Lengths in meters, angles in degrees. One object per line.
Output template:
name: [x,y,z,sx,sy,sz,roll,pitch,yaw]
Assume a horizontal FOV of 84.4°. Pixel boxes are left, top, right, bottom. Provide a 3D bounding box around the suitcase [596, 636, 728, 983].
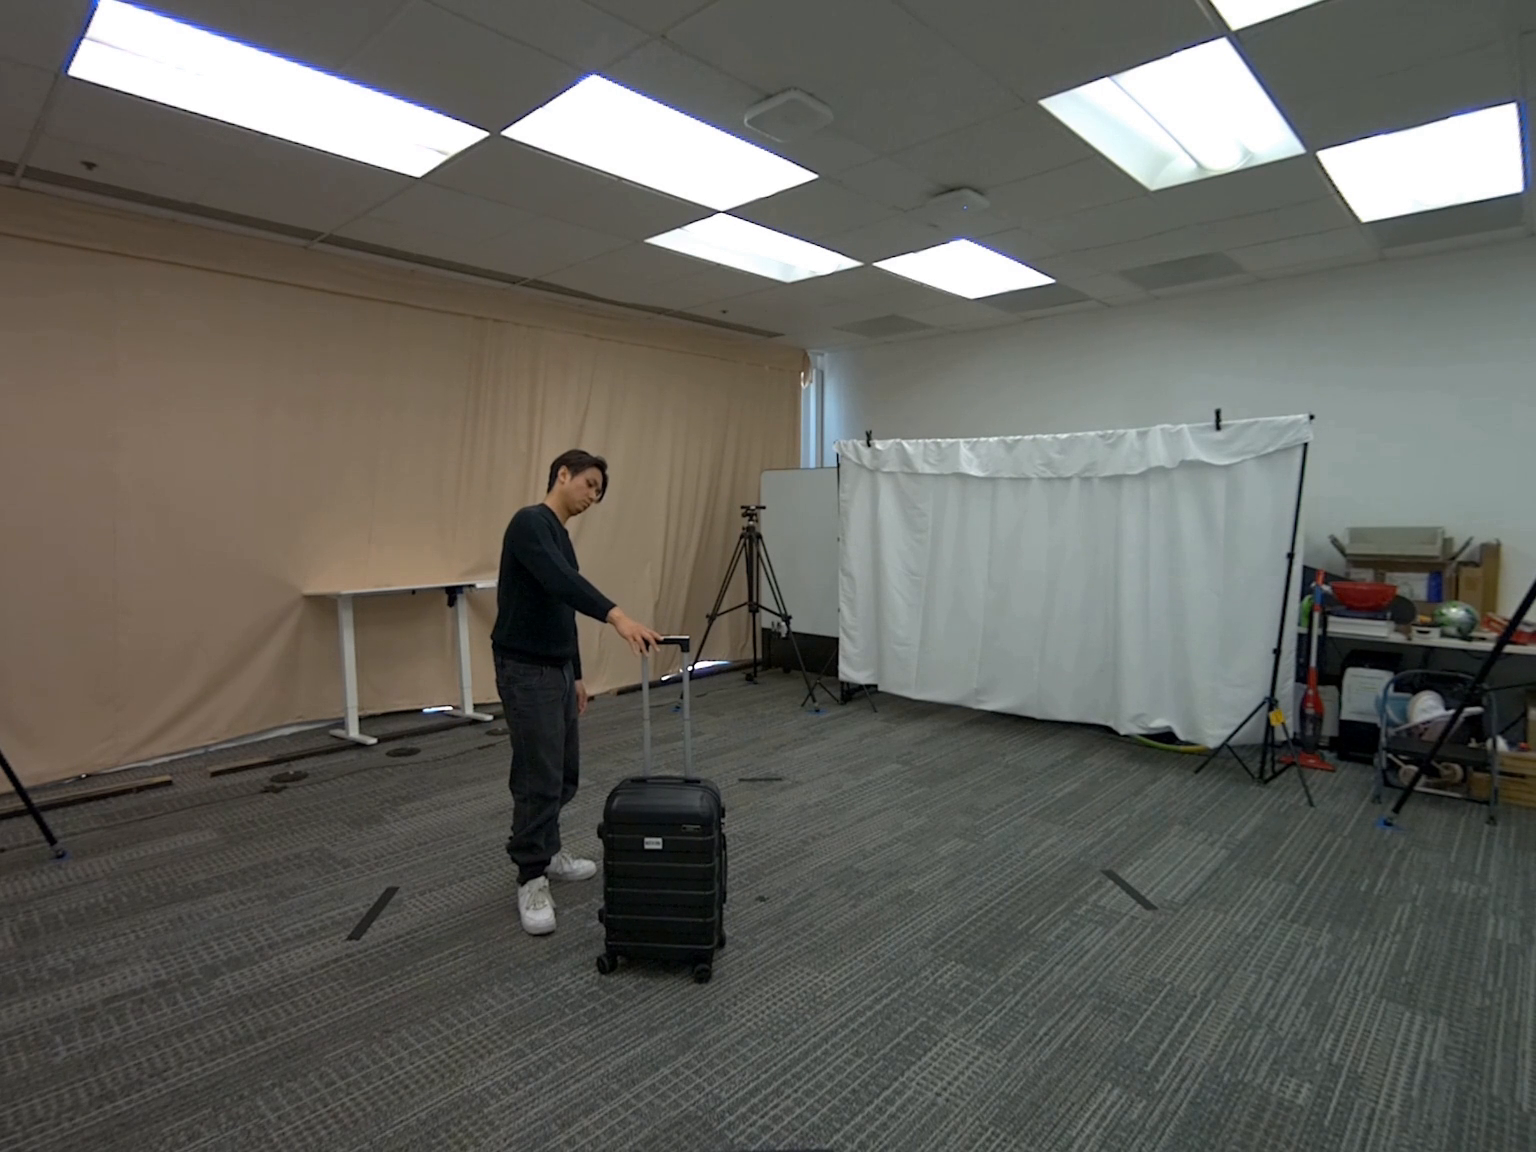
suitcase: [-0.320,0.705,2.565,0.386,0.976,0.256,0,4,4]
